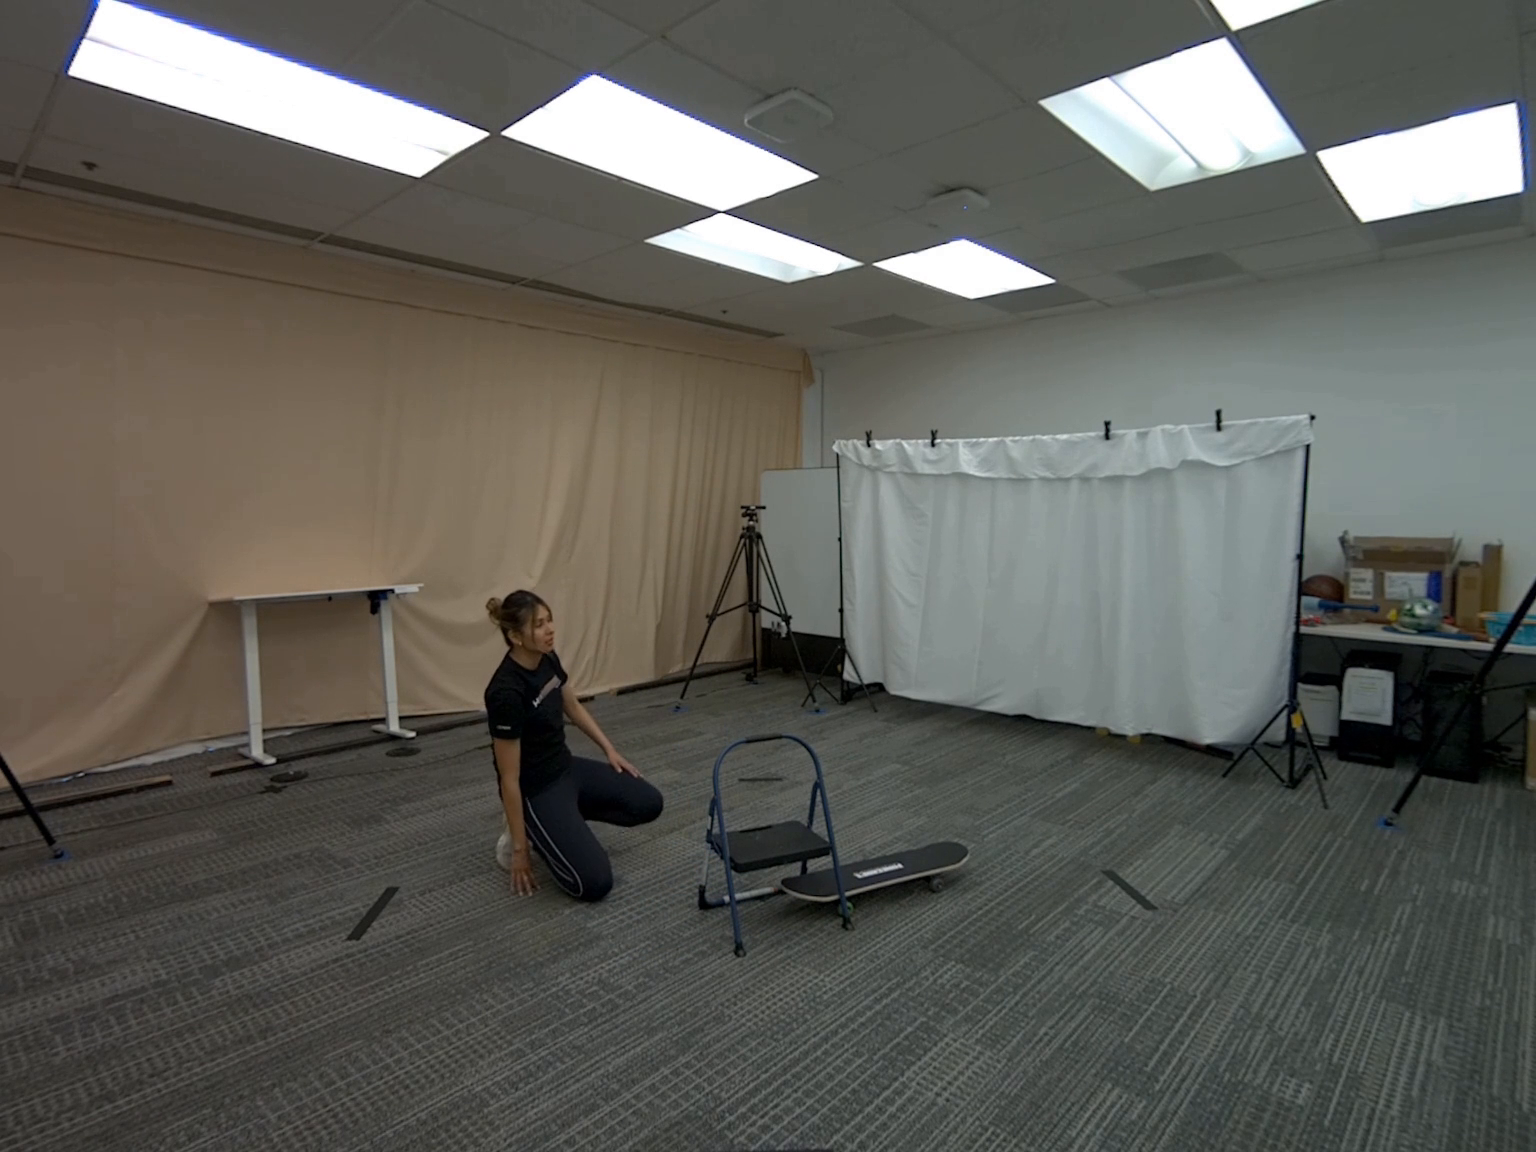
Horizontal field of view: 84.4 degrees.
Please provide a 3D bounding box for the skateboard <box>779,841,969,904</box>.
[{"bbox_3d":[0.399,1.081,3.004,0.766,0.110,0.199,-2,4,-27],"label":"skateboard"}]
